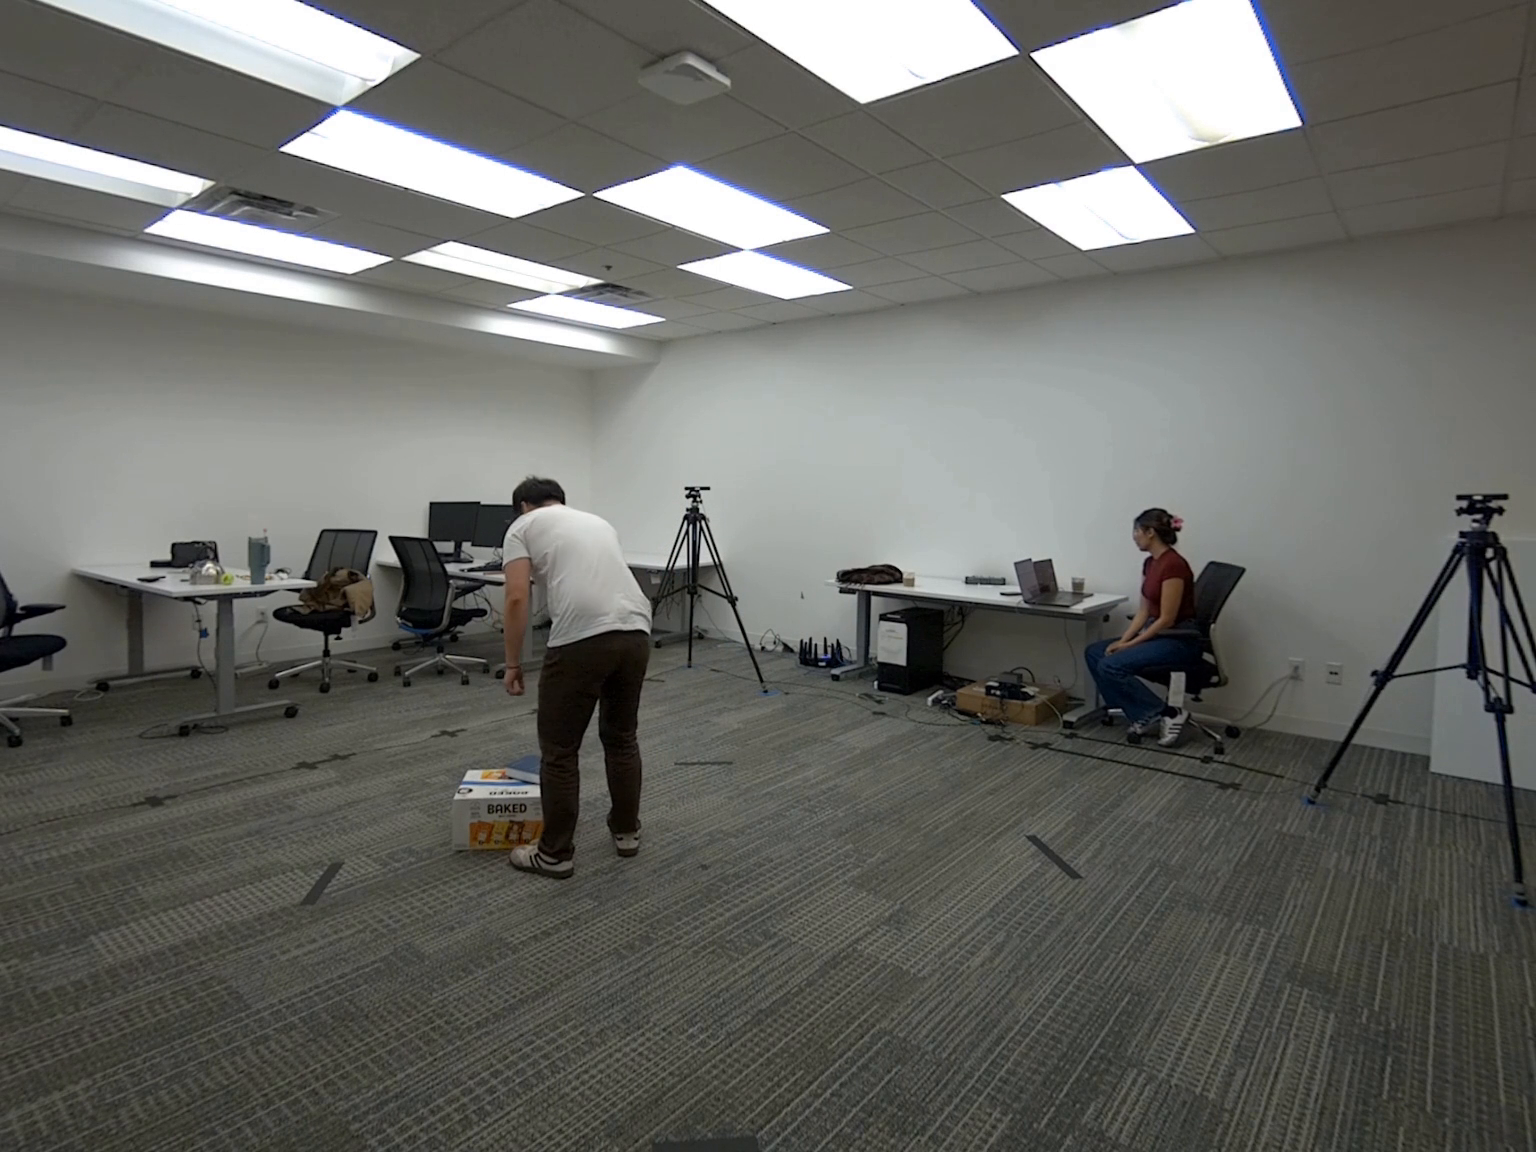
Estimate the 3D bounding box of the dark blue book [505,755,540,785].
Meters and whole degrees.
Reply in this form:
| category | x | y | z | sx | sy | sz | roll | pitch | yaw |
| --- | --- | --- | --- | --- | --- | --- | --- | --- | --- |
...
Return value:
| category | x | y | z | sx | sy | sz | roll | pitch | yaw |
| --- | --- | --- | --- | --- | --- | --- | --- | --- | --- |
| dark blue book | -0.956 | 0.798 | 3.489 | 0.252 | 0.045 | 0.159 | 4 | 8 | 29 |
